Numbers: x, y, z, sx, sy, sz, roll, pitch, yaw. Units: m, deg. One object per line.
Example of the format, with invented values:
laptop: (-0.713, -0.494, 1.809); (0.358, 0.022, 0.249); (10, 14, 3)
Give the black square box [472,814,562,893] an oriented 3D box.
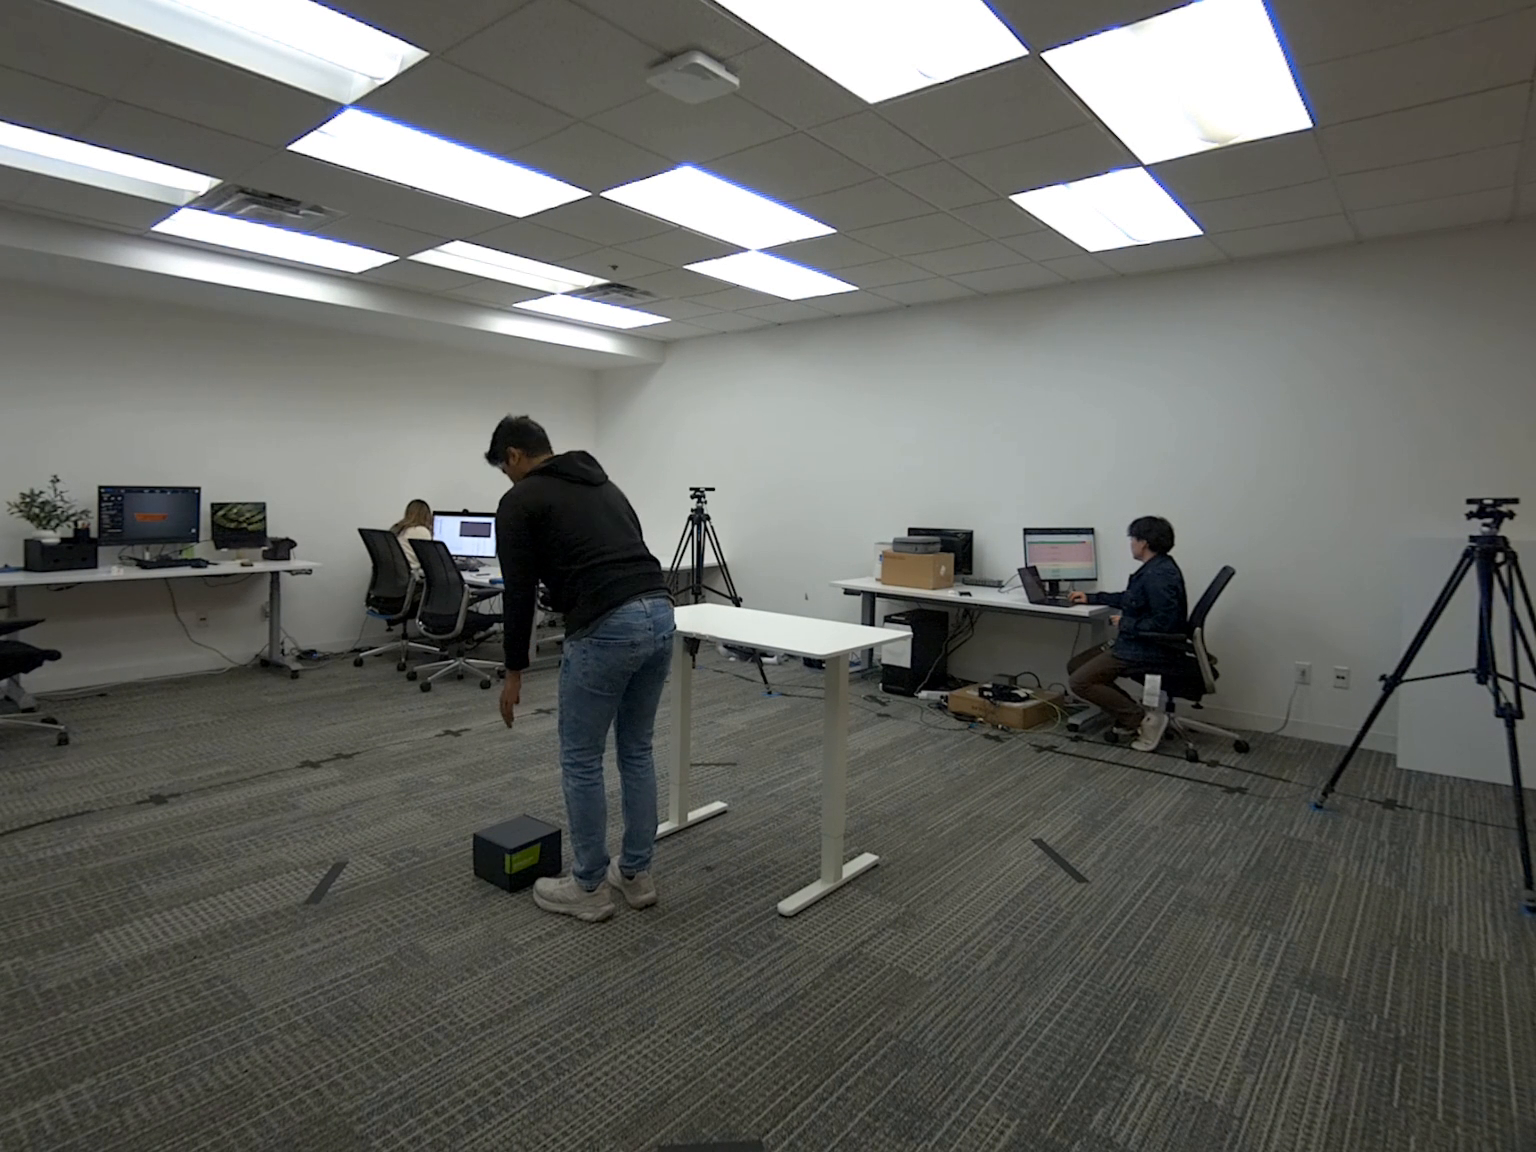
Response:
black square box: (-0.898, 0.978, 3.032); (0.224, 0.155, 0.221); (5, 7, 37)
